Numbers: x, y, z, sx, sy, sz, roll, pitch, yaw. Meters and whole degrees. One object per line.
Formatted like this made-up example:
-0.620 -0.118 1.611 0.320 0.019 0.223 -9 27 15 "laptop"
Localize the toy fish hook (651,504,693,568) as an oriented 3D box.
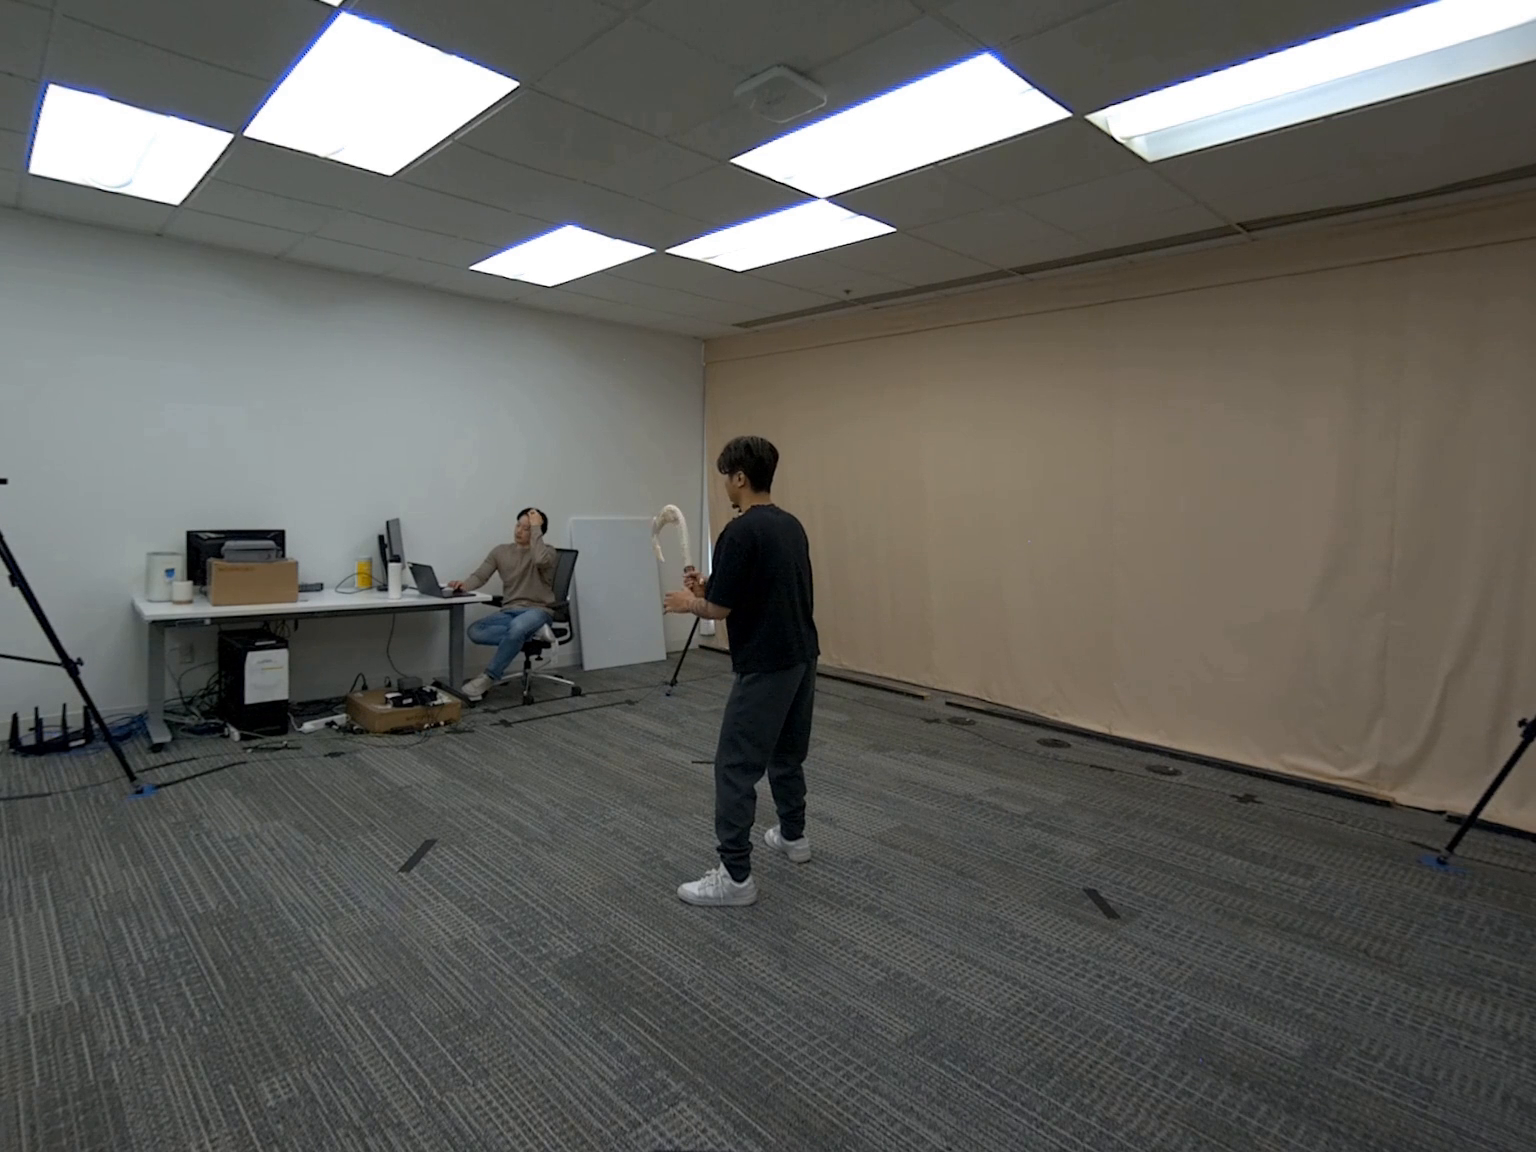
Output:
-0.363 -0.030 3.376 0.047 0.518 0.225 2 -35 -42 "toy fish hook"
